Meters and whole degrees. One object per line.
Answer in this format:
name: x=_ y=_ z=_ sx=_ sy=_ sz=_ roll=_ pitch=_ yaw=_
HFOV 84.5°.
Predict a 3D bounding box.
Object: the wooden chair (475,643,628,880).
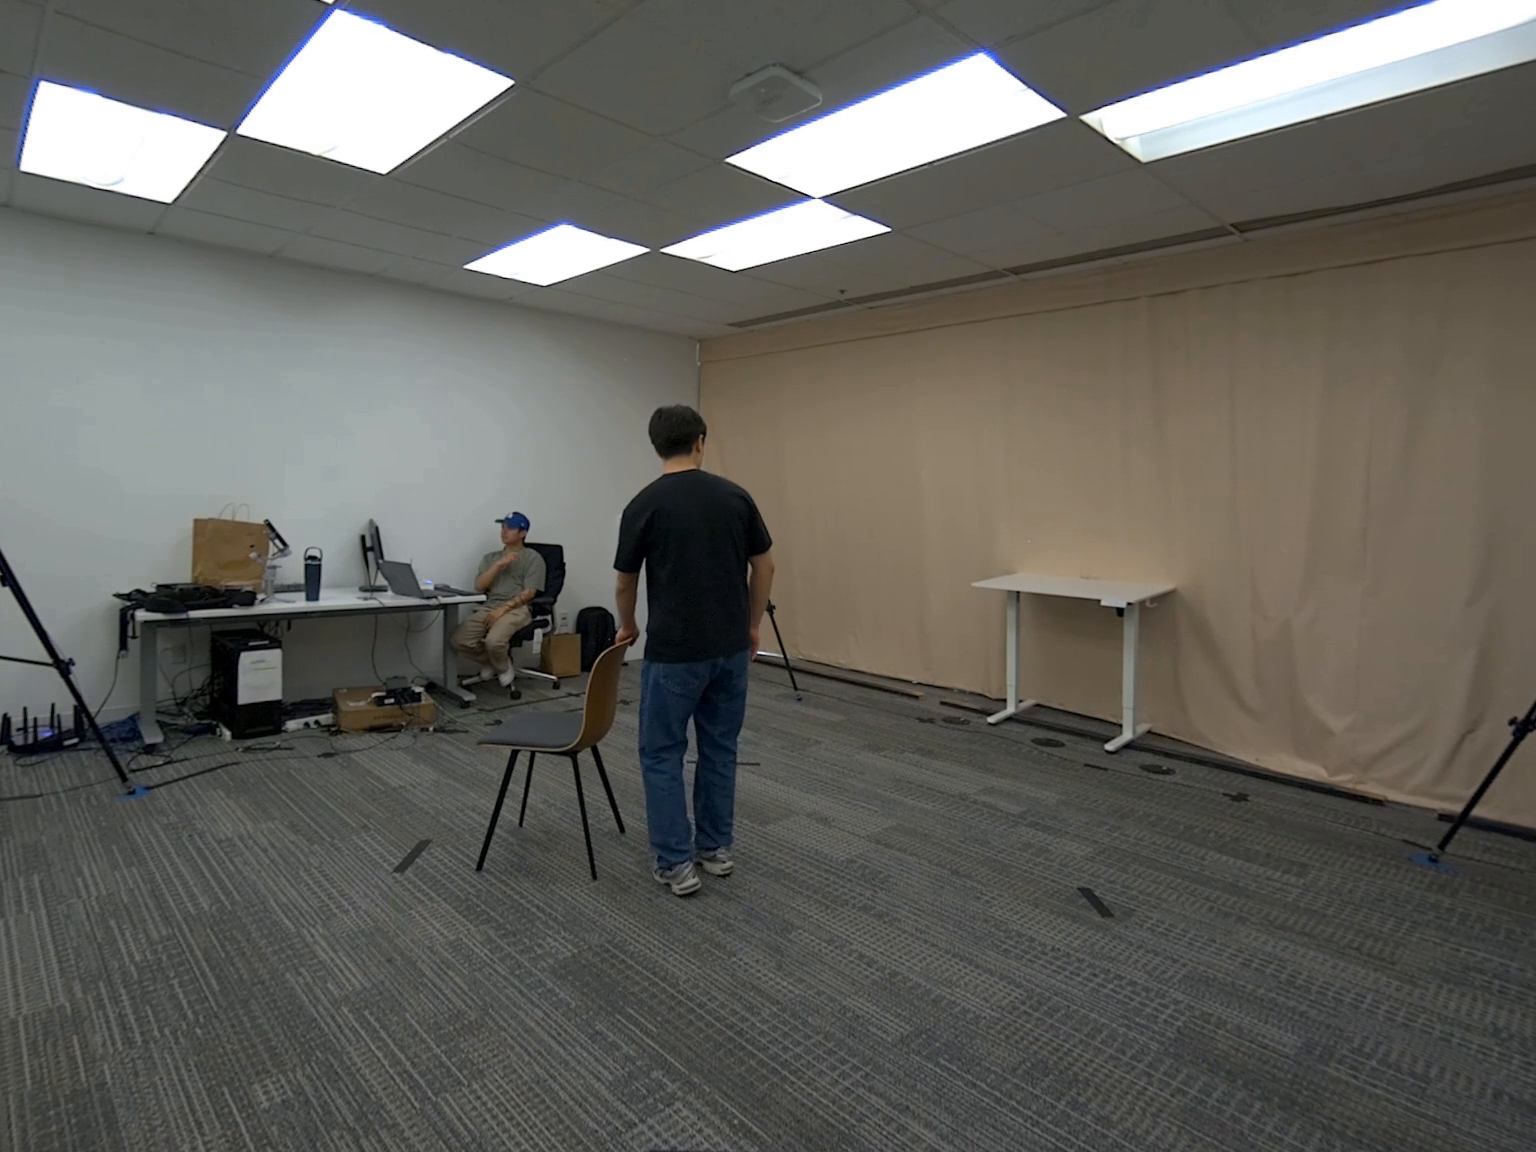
wooden chair: x=-0.830 y=0.646 z=3.250 sx=0.525 sy=0.875 sz=0.477 roll=6 pitch=4 yaw=4
